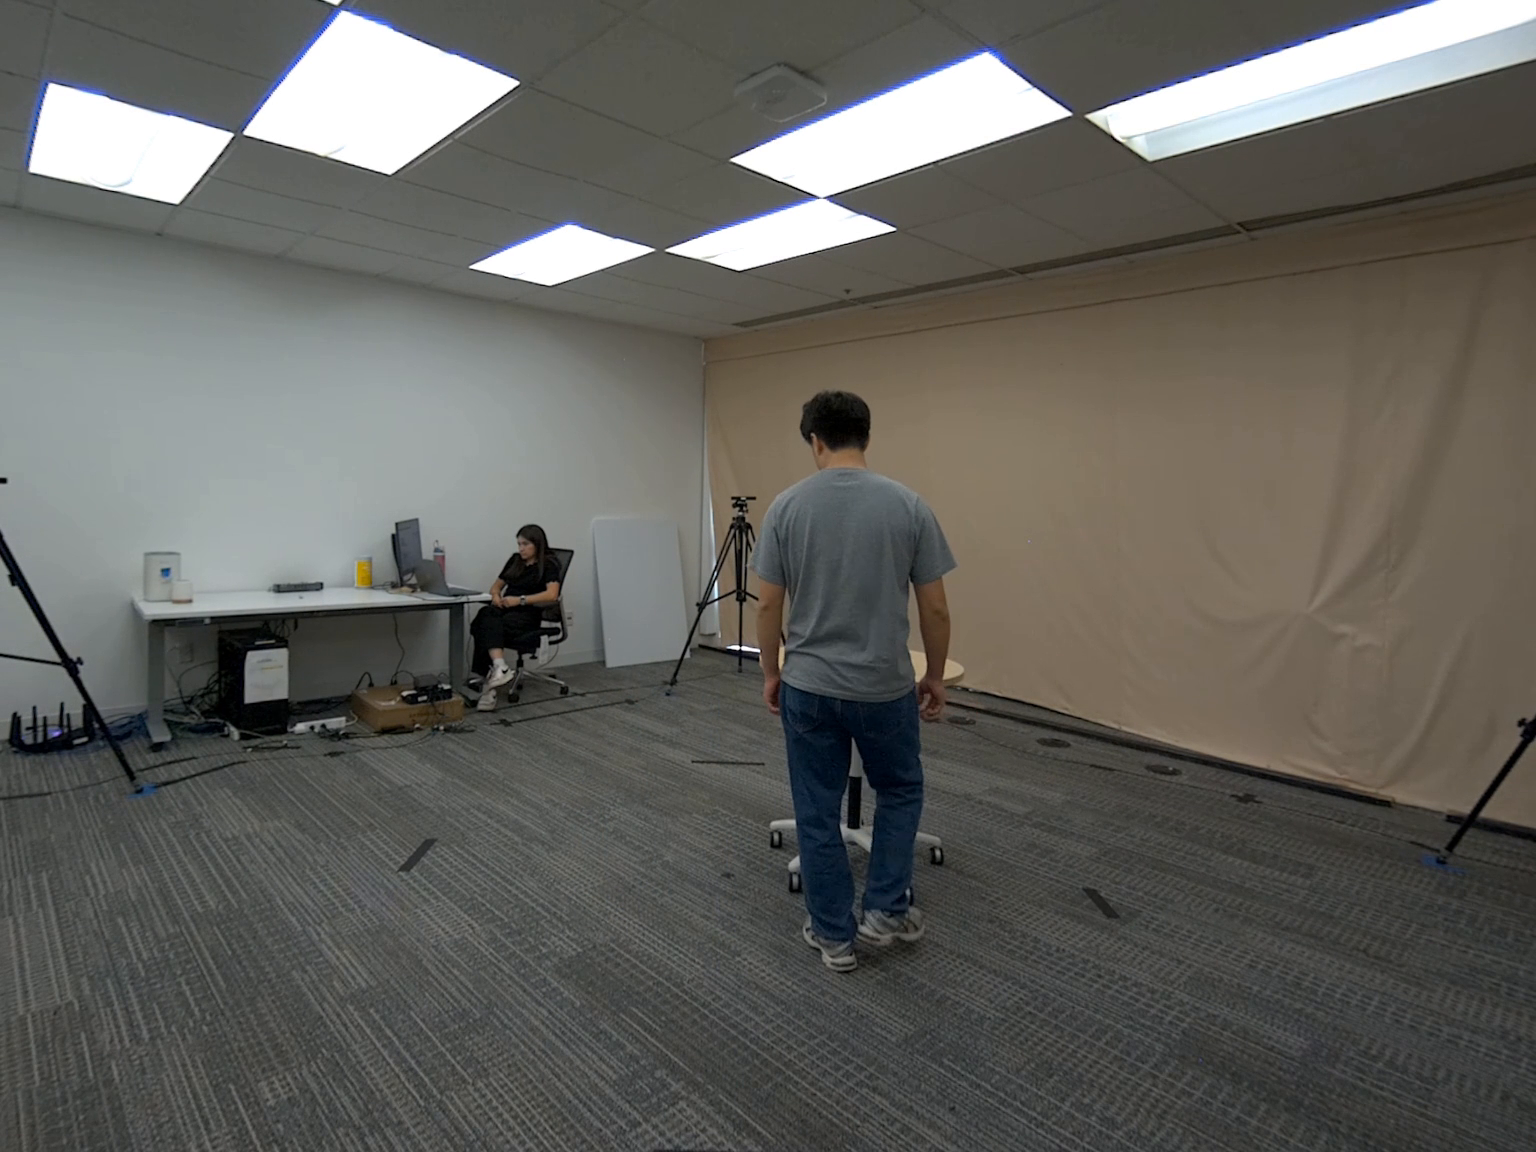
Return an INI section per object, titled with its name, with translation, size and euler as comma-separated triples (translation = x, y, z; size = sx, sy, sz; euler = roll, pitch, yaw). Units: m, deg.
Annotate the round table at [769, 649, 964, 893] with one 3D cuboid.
[round table]
translation = 0.339, 0.722, 3.213
size = 0.763, 0.792, 0.766
euler = 2, 4, -1
